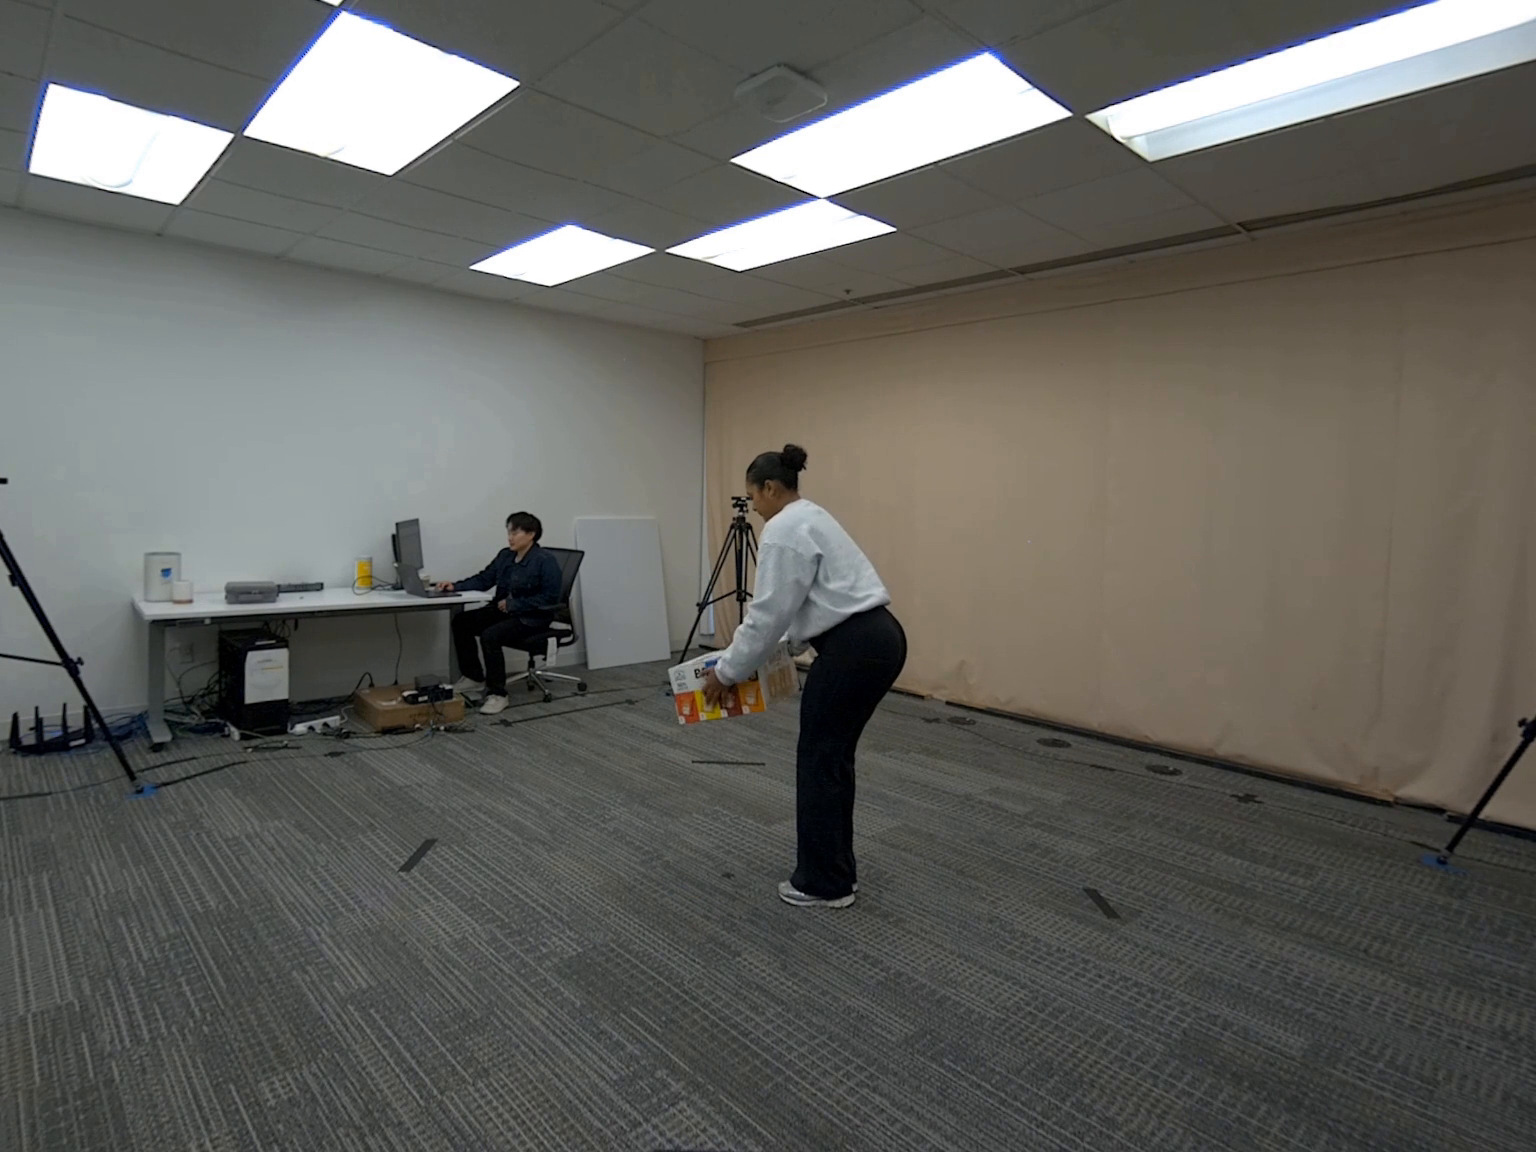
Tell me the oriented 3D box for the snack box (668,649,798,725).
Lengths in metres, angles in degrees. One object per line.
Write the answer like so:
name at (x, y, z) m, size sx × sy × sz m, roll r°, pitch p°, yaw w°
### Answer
snack box at (-0.121, 0.392, 3.131) m, size 0.344 × 0.206 × 0.400 m, roll -12°, pitch 0°, yaw 20°
